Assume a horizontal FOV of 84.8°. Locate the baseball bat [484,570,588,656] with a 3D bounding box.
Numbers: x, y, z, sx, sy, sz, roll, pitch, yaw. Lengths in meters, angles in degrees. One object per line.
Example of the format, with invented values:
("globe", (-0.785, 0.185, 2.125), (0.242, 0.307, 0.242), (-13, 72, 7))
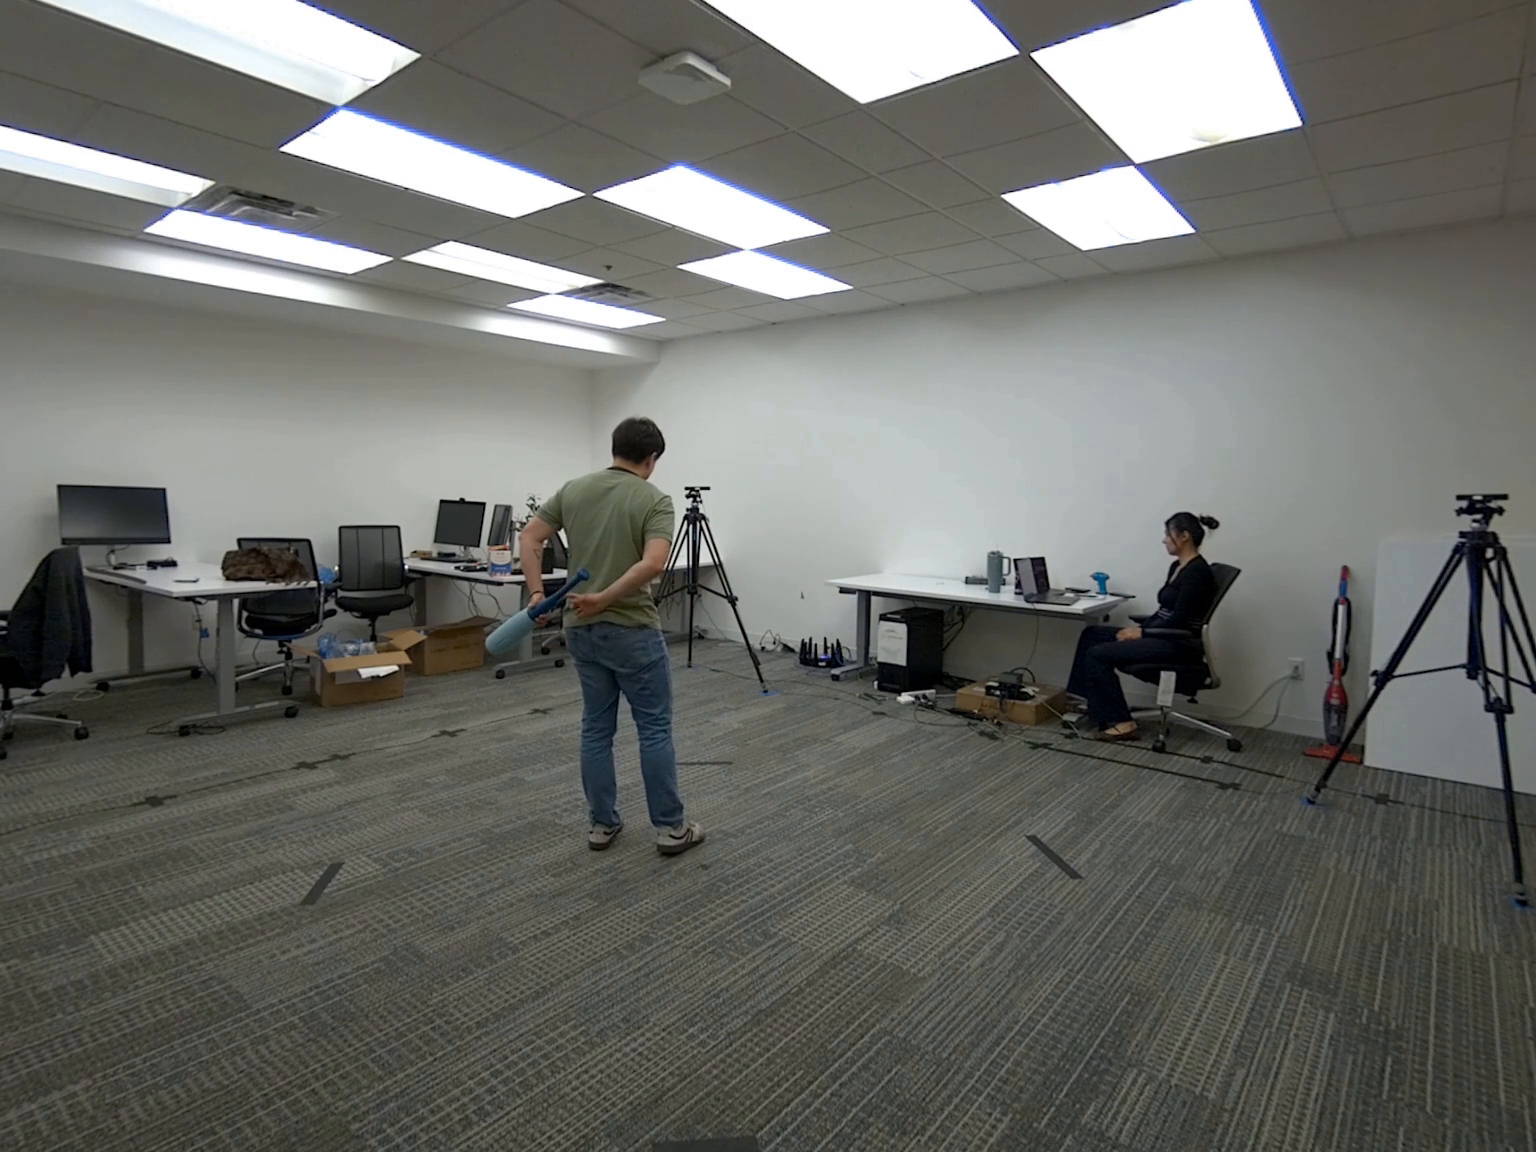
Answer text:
("baseball bat", (-0.867, 0.130, 3.138), (0.547, 0.090, 0.087), (-34, -12, 25))
